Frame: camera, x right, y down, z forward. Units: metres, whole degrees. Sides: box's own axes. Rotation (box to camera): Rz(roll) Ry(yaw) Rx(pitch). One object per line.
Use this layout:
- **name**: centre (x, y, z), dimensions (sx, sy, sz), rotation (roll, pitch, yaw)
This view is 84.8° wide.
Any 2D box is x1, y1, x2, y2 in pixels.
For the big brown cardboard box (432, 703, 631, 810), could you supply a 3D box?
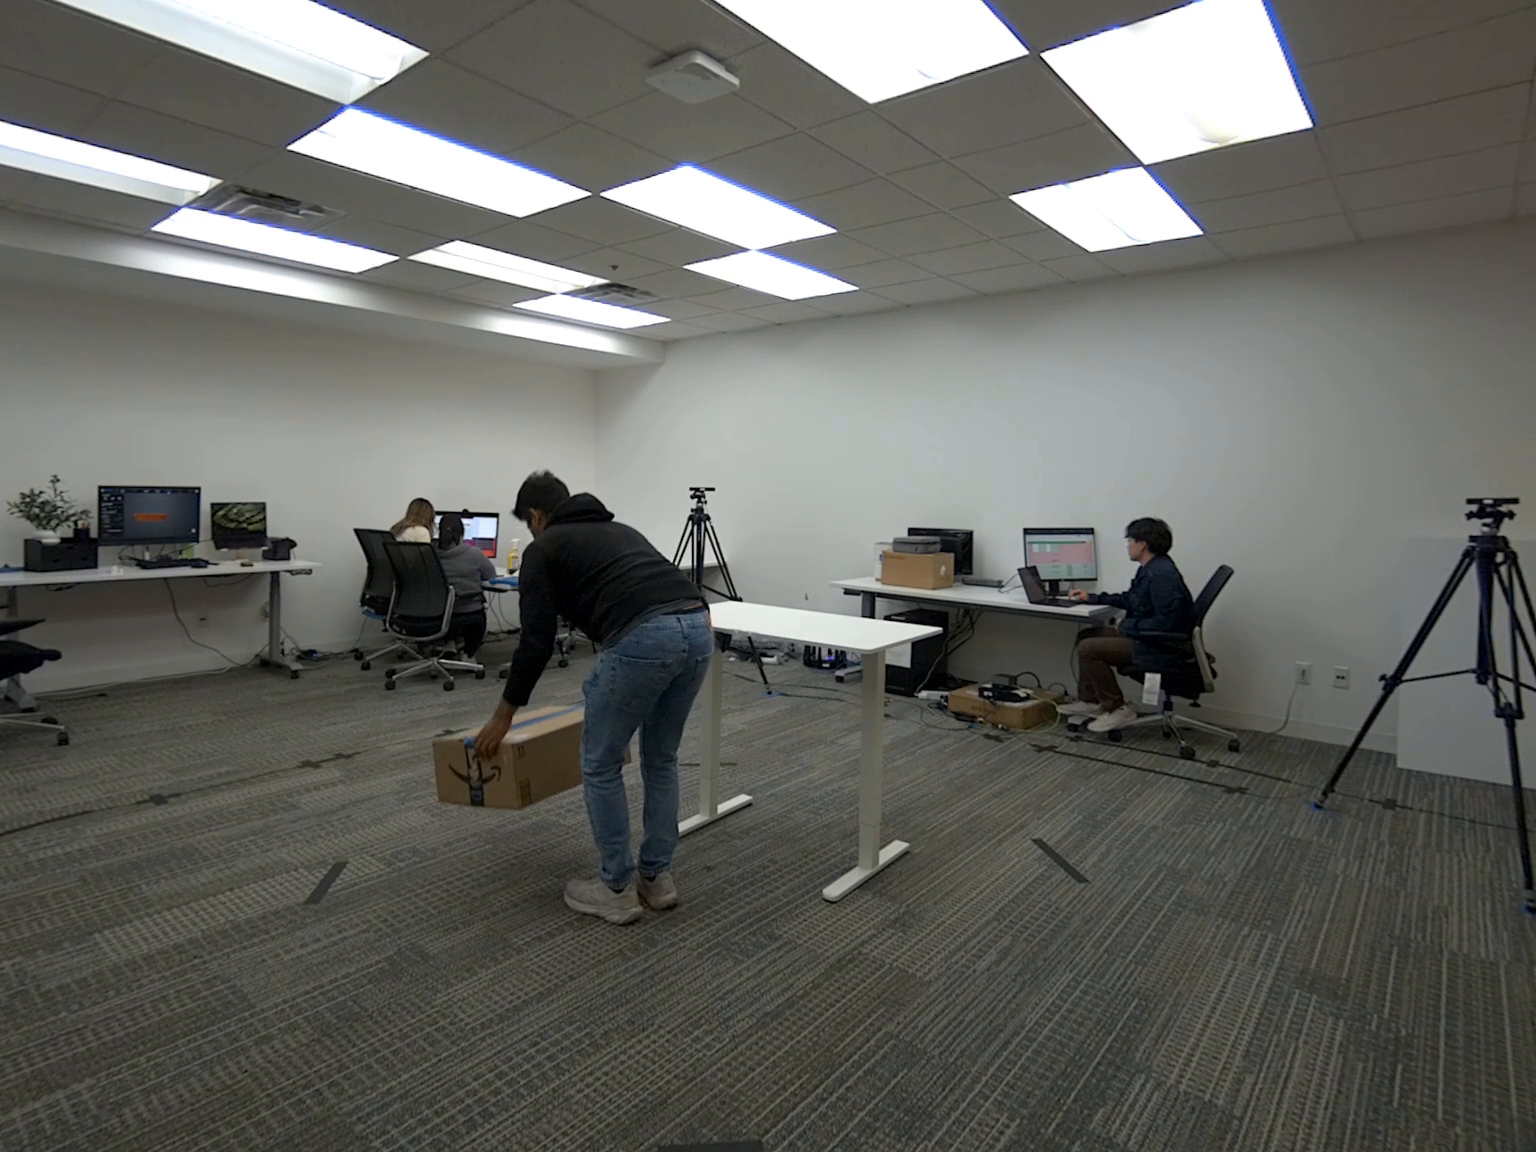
- **big brown cardboard box**: centre (-0.858, 0.630, 3.068), dimensions (0.428, 0.233, 0.573), rotation (-5, 1, 32)
